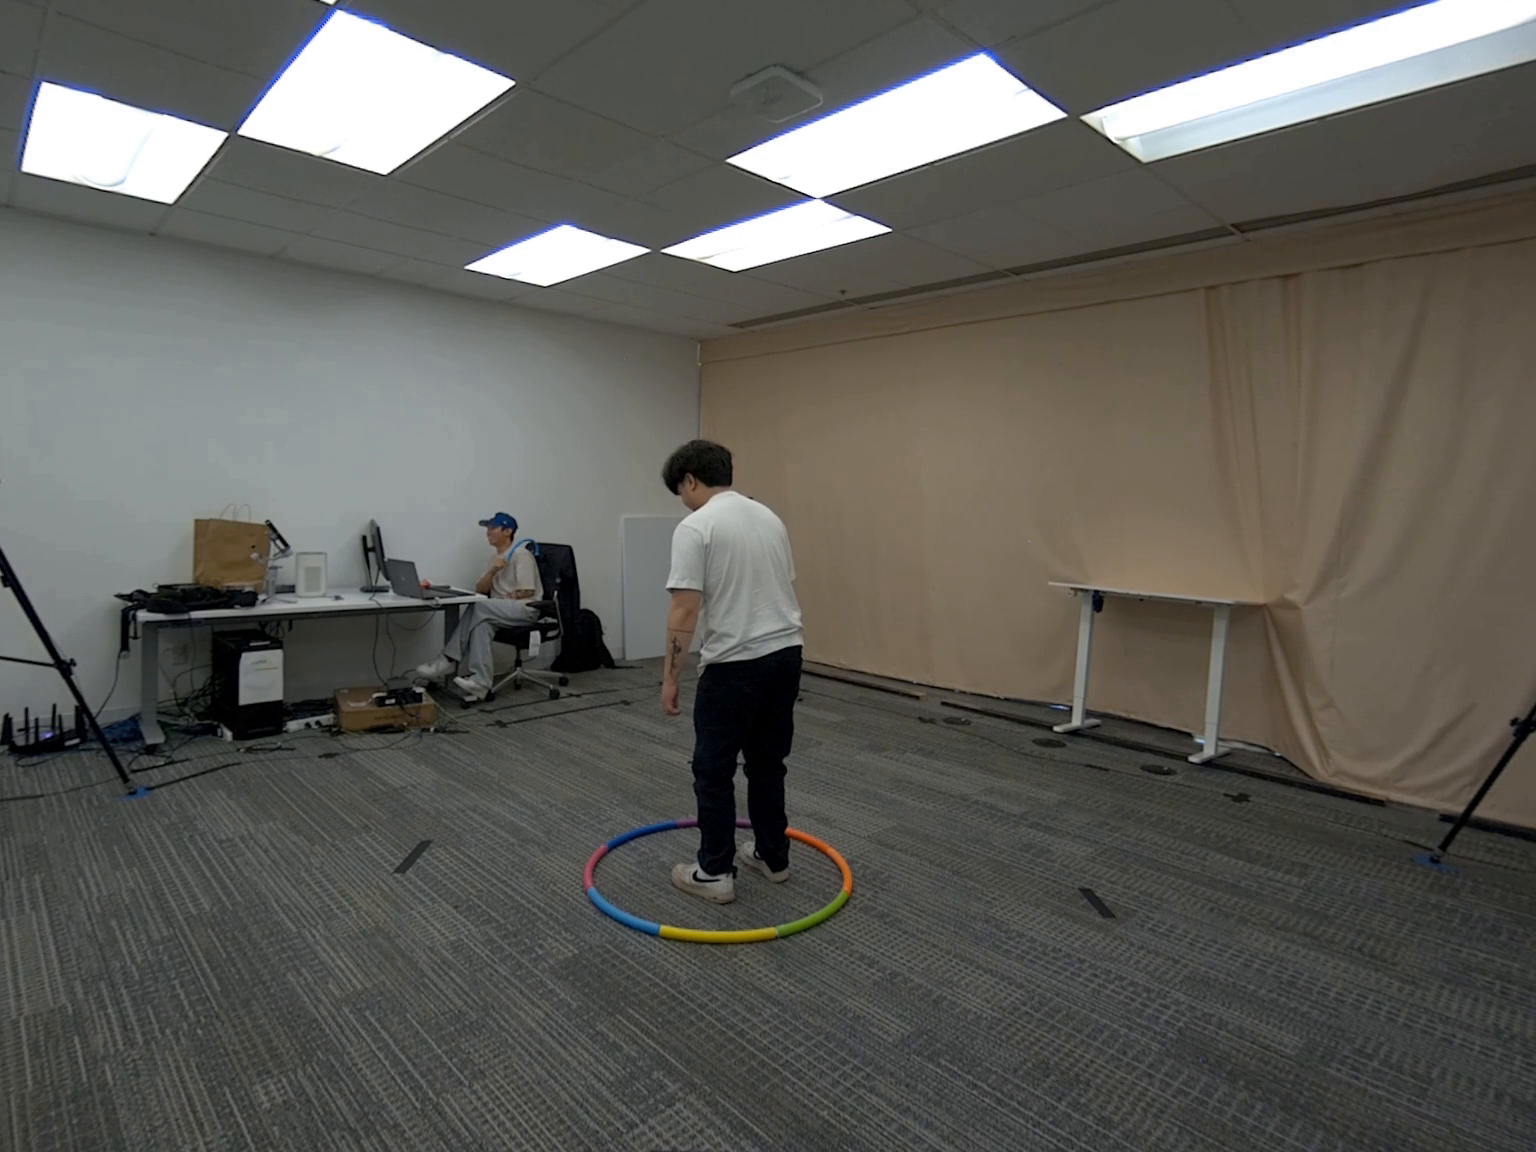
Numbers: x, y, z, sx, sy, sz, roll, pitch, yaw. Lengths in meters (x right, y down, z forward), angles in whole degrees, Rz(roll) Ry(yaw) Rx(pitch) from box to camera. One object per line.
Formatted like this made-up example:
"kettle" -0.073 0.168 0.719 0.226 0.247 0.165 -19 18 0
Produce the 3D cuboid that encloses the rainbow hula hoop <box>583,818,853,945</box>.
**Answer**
"rainbow hula hoop" -0.190 1.082 3.108 0.985 0.051 0.989 1 5 -1
